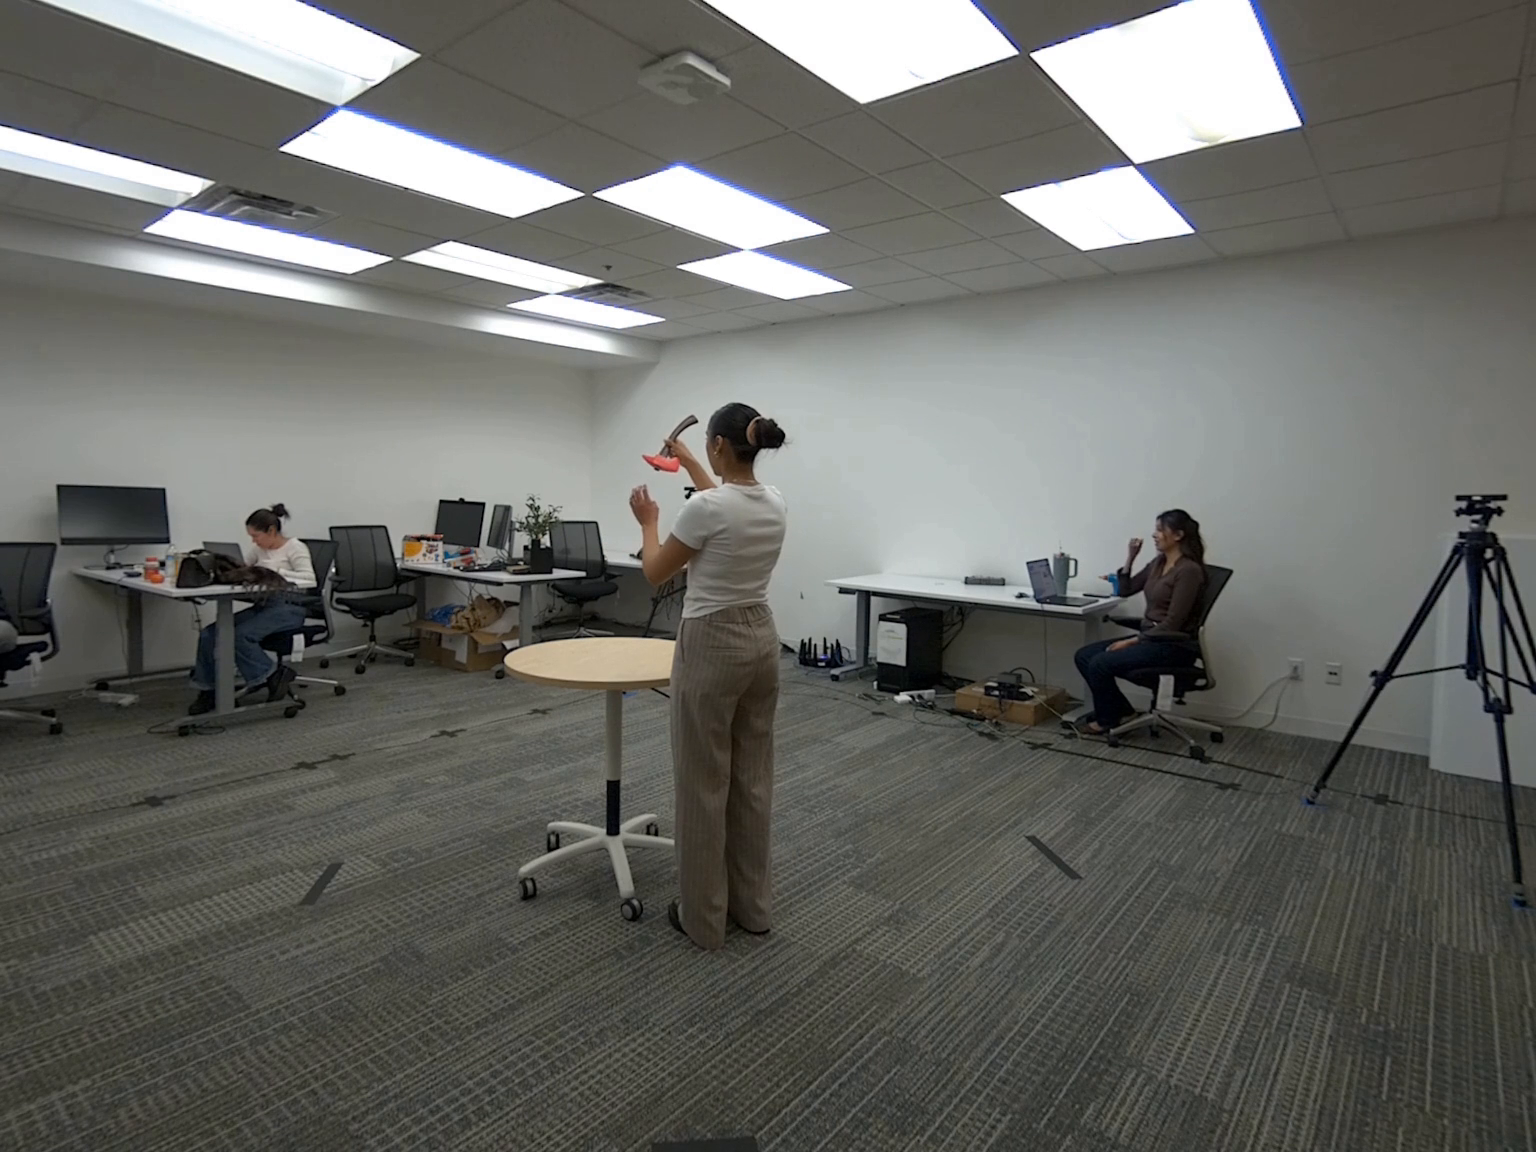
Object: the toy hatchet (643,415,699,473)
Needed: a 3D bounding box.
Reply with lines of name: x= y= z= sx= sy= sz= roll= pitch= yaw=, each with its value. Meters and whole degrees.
toy hatchet: x=-0.321 y=-0.461 z=2.997 sx=0.133 sy=0.269 sz=0.029 roll=39 pitch=-24 yaw=12
